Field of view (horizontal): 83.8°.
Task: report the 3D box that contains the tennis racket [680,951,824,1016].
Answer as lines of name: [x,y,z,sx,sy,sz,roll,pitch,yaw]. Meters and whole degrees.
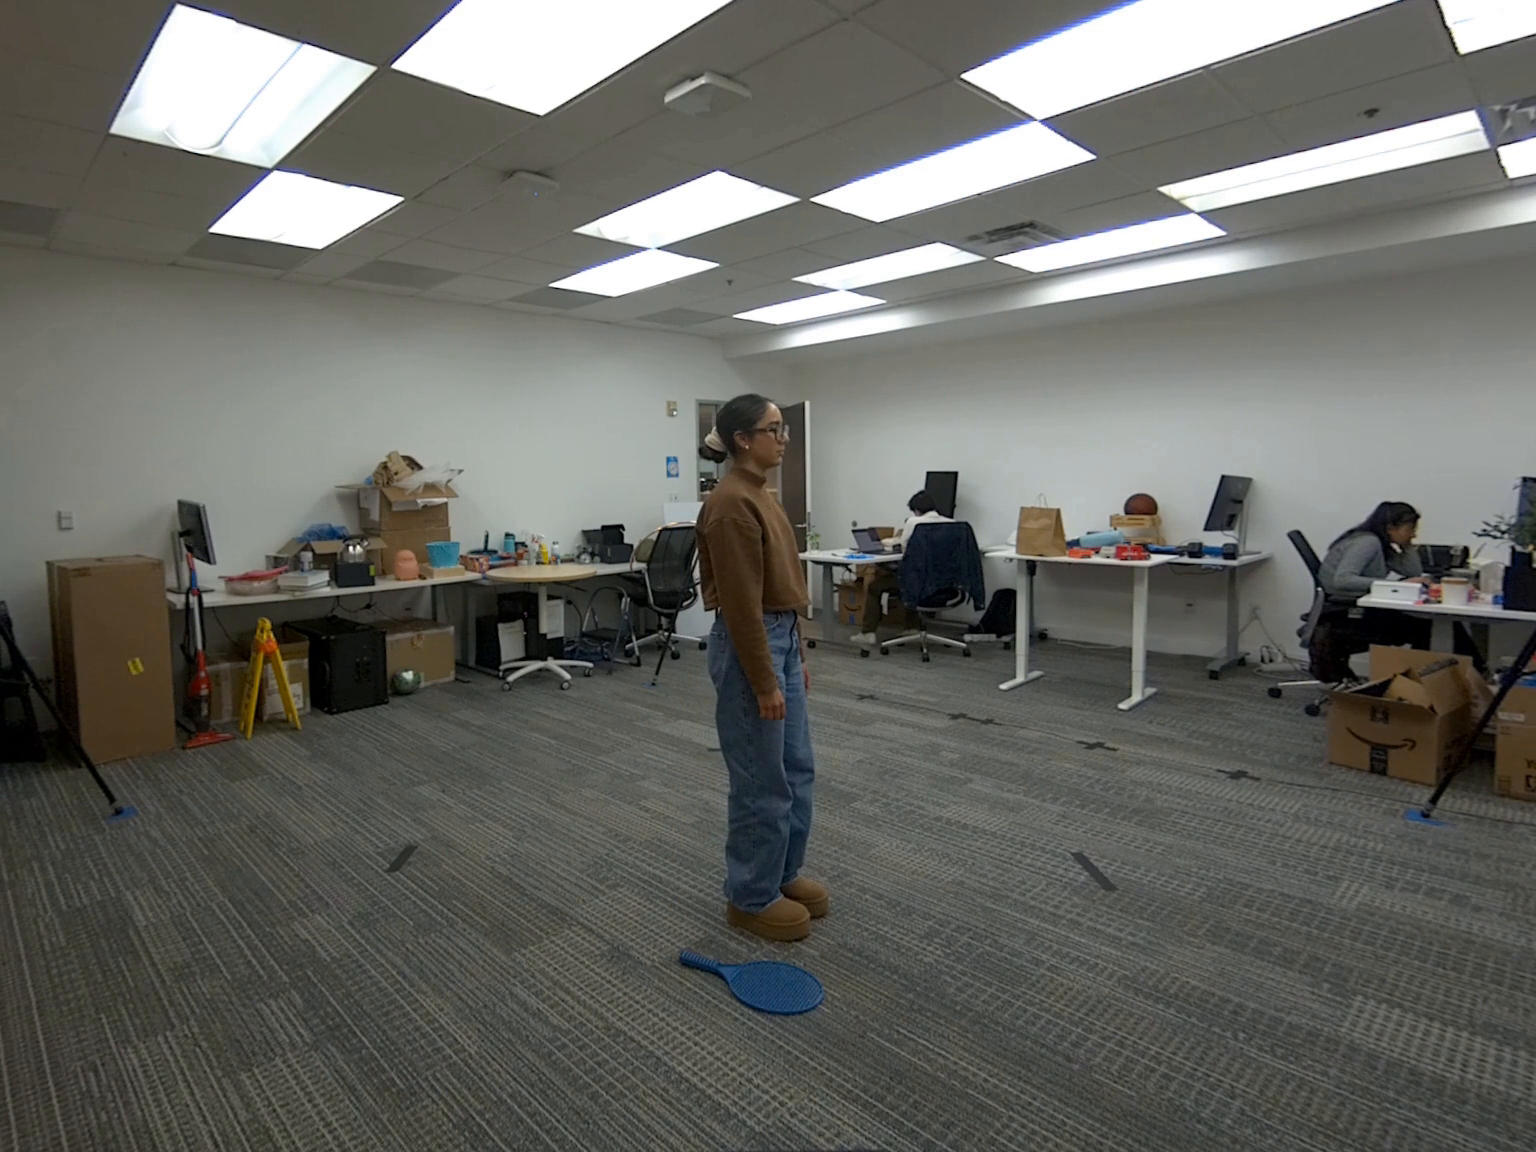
tennis racket: [-0.051,1.121,2.377,0.443,0.031,0.210,3,9,26]
